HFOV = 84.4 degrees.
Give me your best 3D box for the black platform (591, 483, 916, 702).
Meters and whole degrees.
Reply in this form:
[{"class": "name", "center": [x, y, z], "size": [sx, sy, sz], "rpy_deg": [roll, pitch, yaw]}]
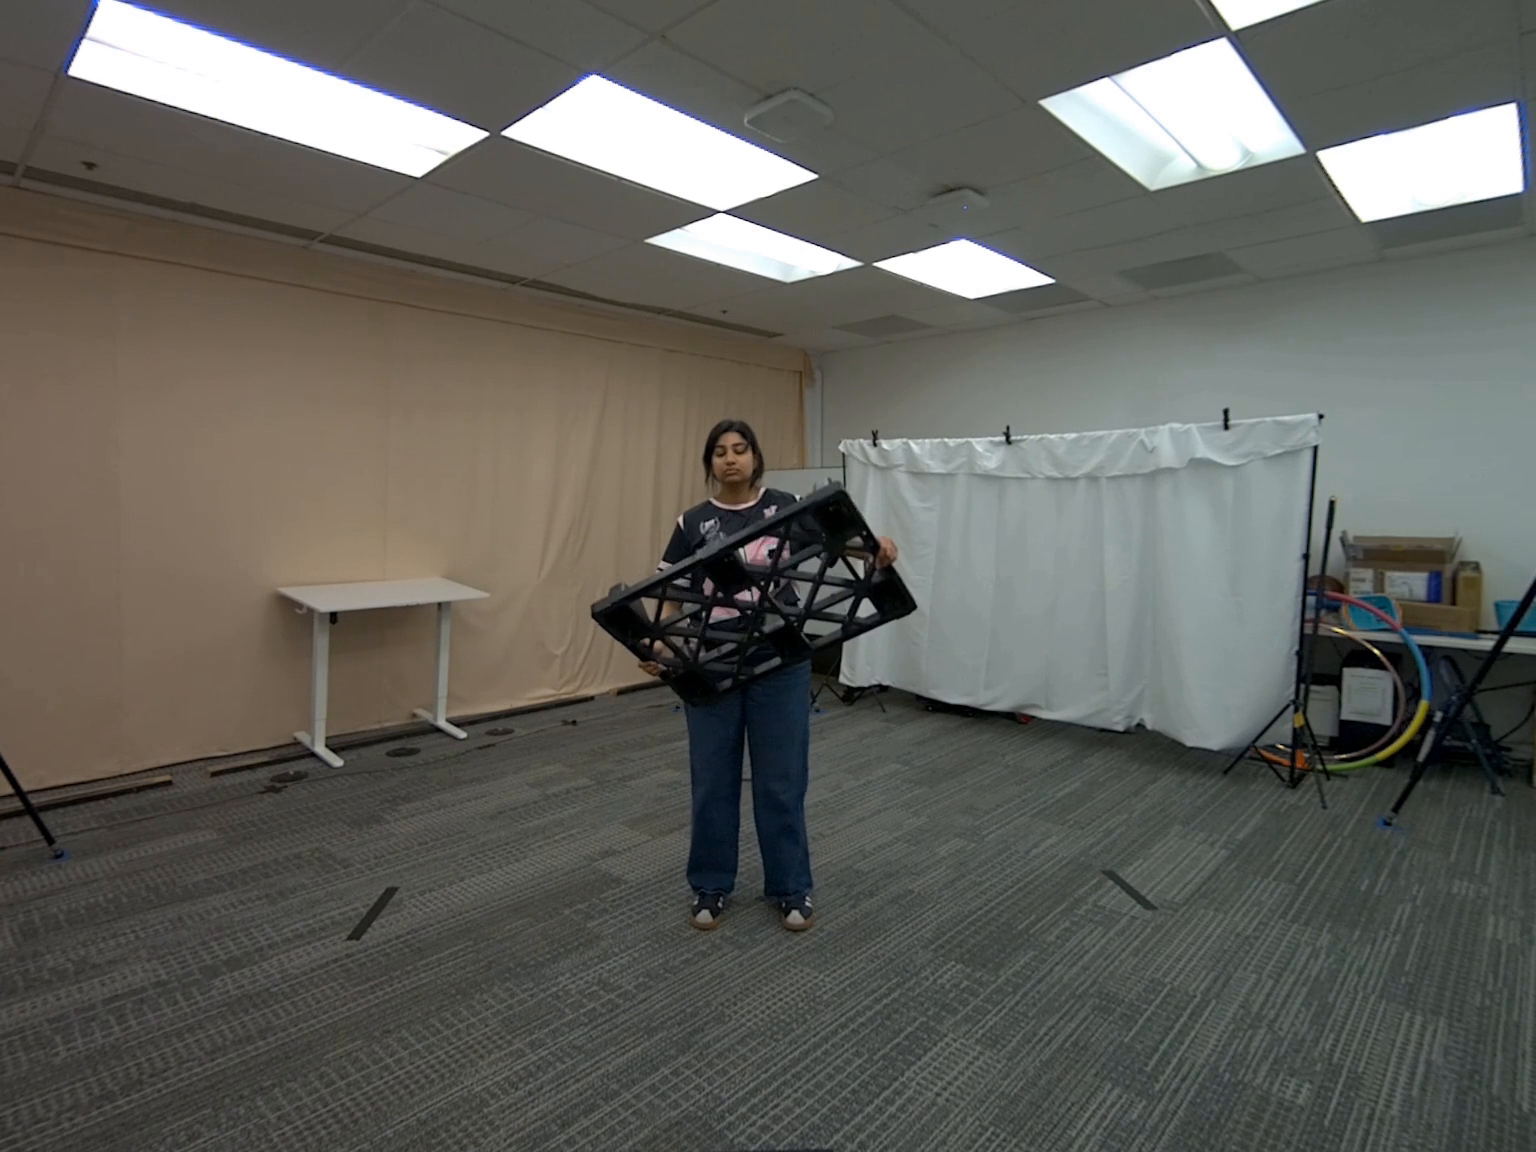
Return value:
[{"class": "black platform", "center": [-0.039, 0.061, 2.510], "size": [0.814, 0.147, 0.584], "rpy_deg": [-26, -47, 15]}]
